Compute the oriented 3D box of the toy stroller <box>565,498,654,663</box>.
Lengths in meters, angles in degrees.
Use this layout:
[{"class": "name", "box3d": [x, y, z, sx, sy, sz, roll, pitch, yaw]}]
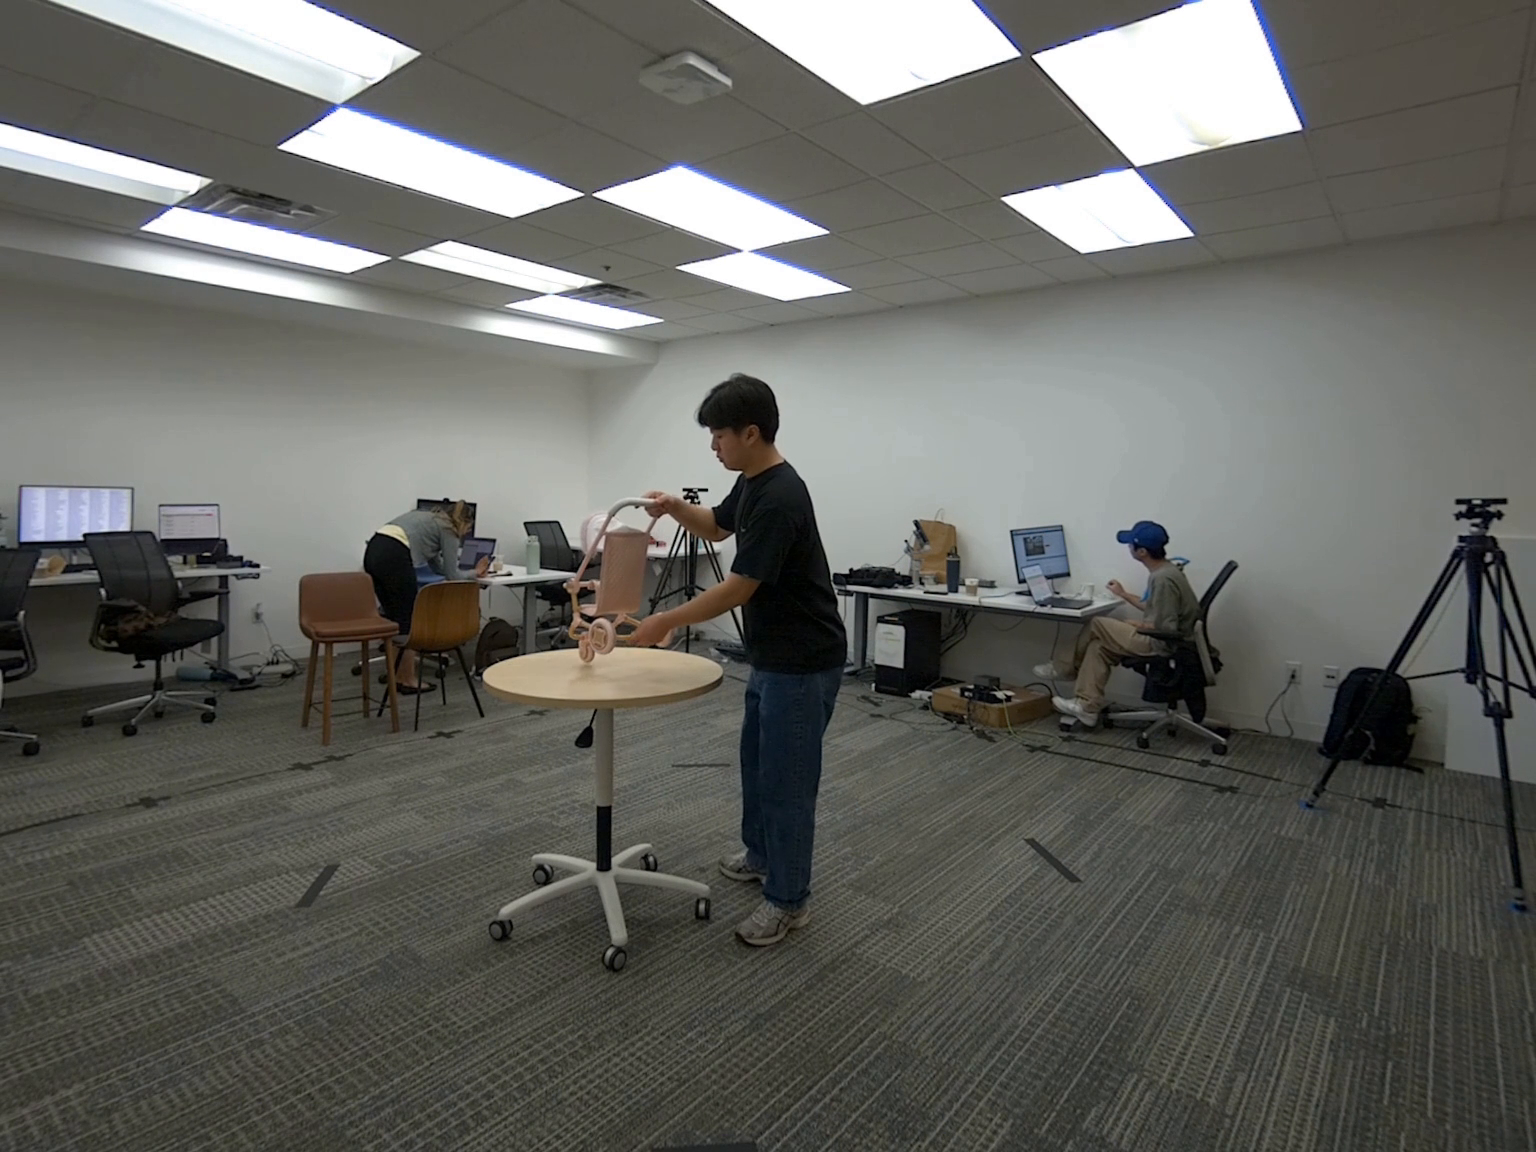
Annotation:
[{"class": "toy stroller", "box3d": [-0.518, 0.022, 2.750, 0.273, 0.535, 0.352, -1, 1, -45]}]
